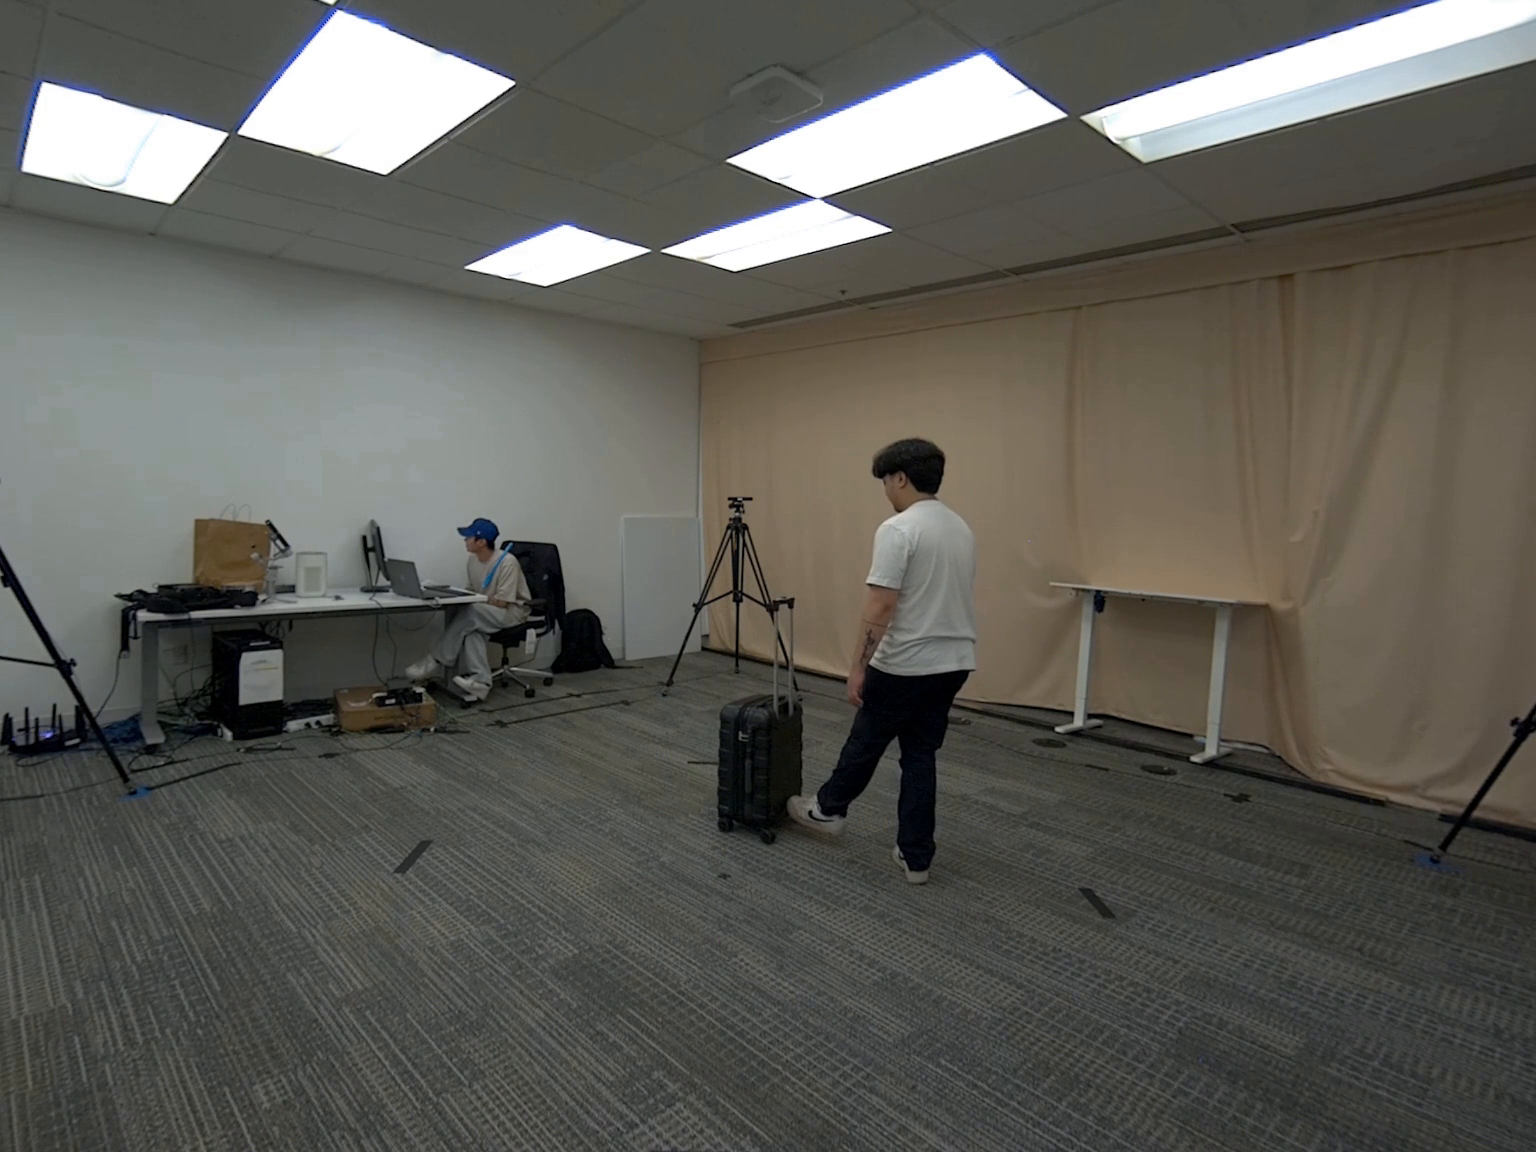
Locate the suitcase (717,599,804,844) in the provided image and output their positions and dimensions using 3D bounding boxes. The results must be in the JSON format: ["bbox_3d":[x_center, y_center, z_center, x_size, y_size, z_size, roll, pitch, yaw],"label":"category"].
[{"bbox_3d":[-0.036,0.591,3.597,0.262,0.977,0.376,0,2,30],"label":"suitcase"}]
